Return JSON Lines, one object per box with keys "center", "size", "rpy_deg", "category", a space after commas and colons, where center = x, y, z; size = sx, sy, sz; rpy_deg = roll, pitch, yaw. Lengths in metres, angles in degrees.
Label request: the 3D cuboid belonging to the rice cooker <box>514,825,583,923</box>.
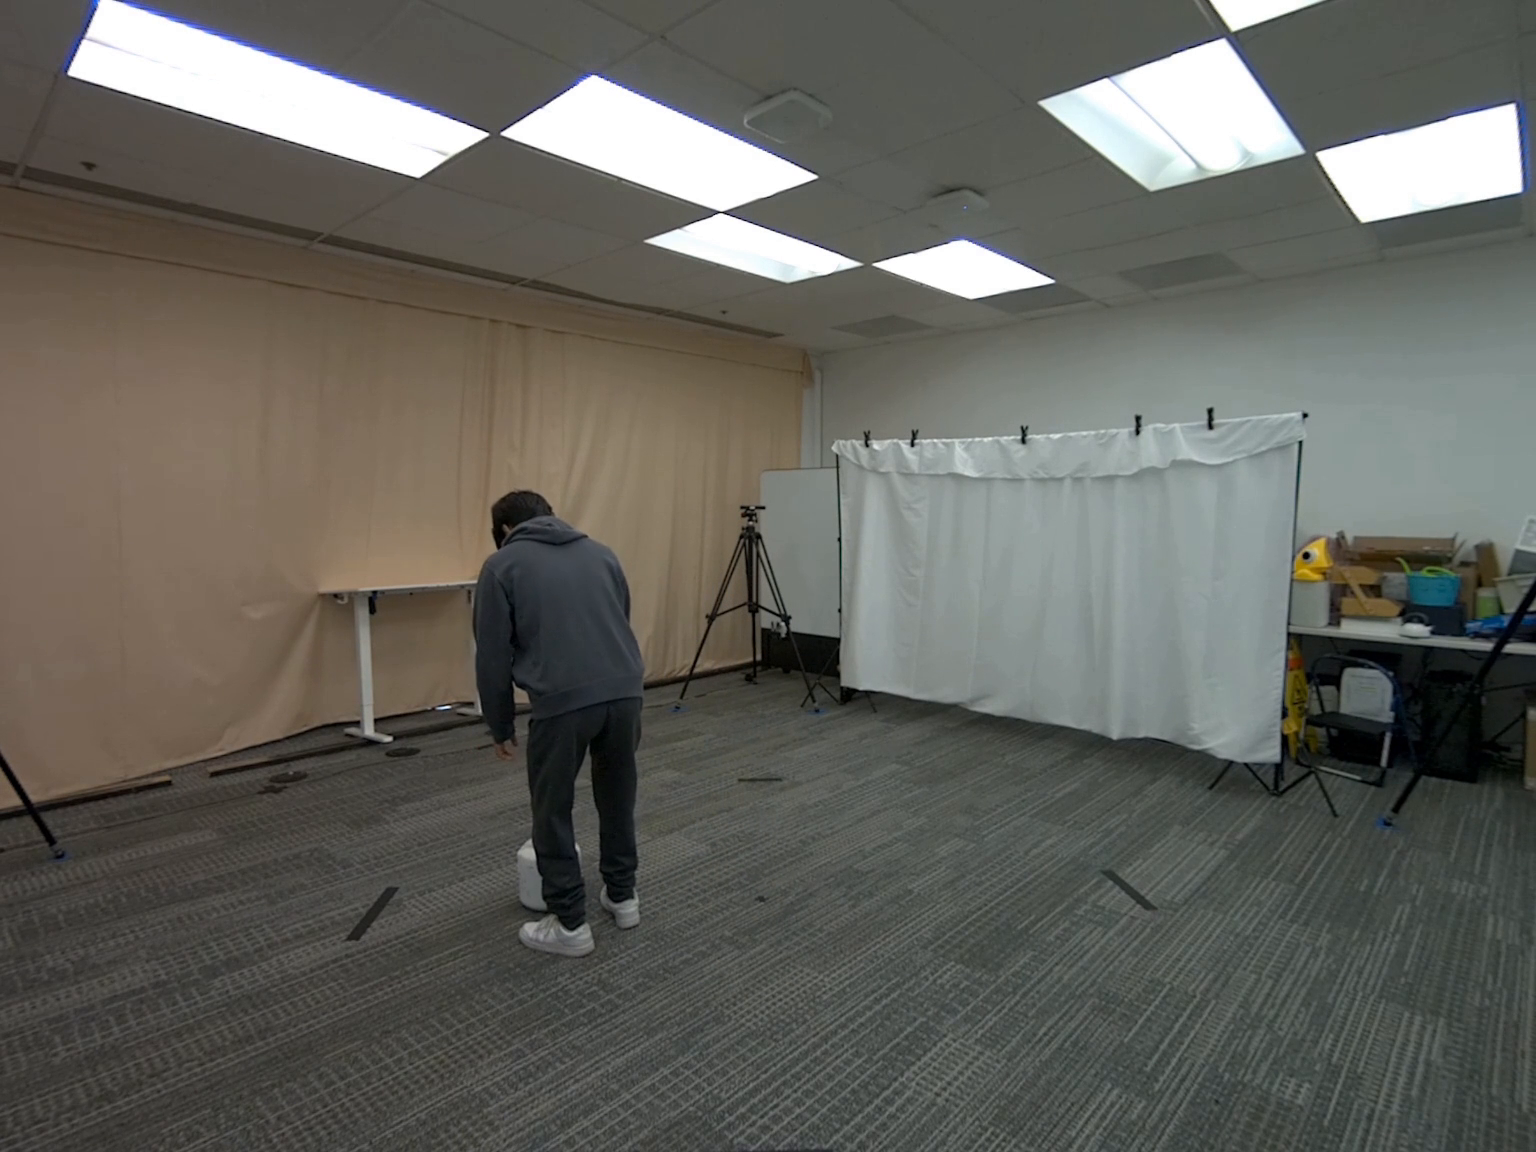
{"center": [-0.773, 1.036, 2.972], "size": [0.217, 0.232, 0.221], "rpy_deg": [-1, 2, -16], "category": "rice cooker"}
